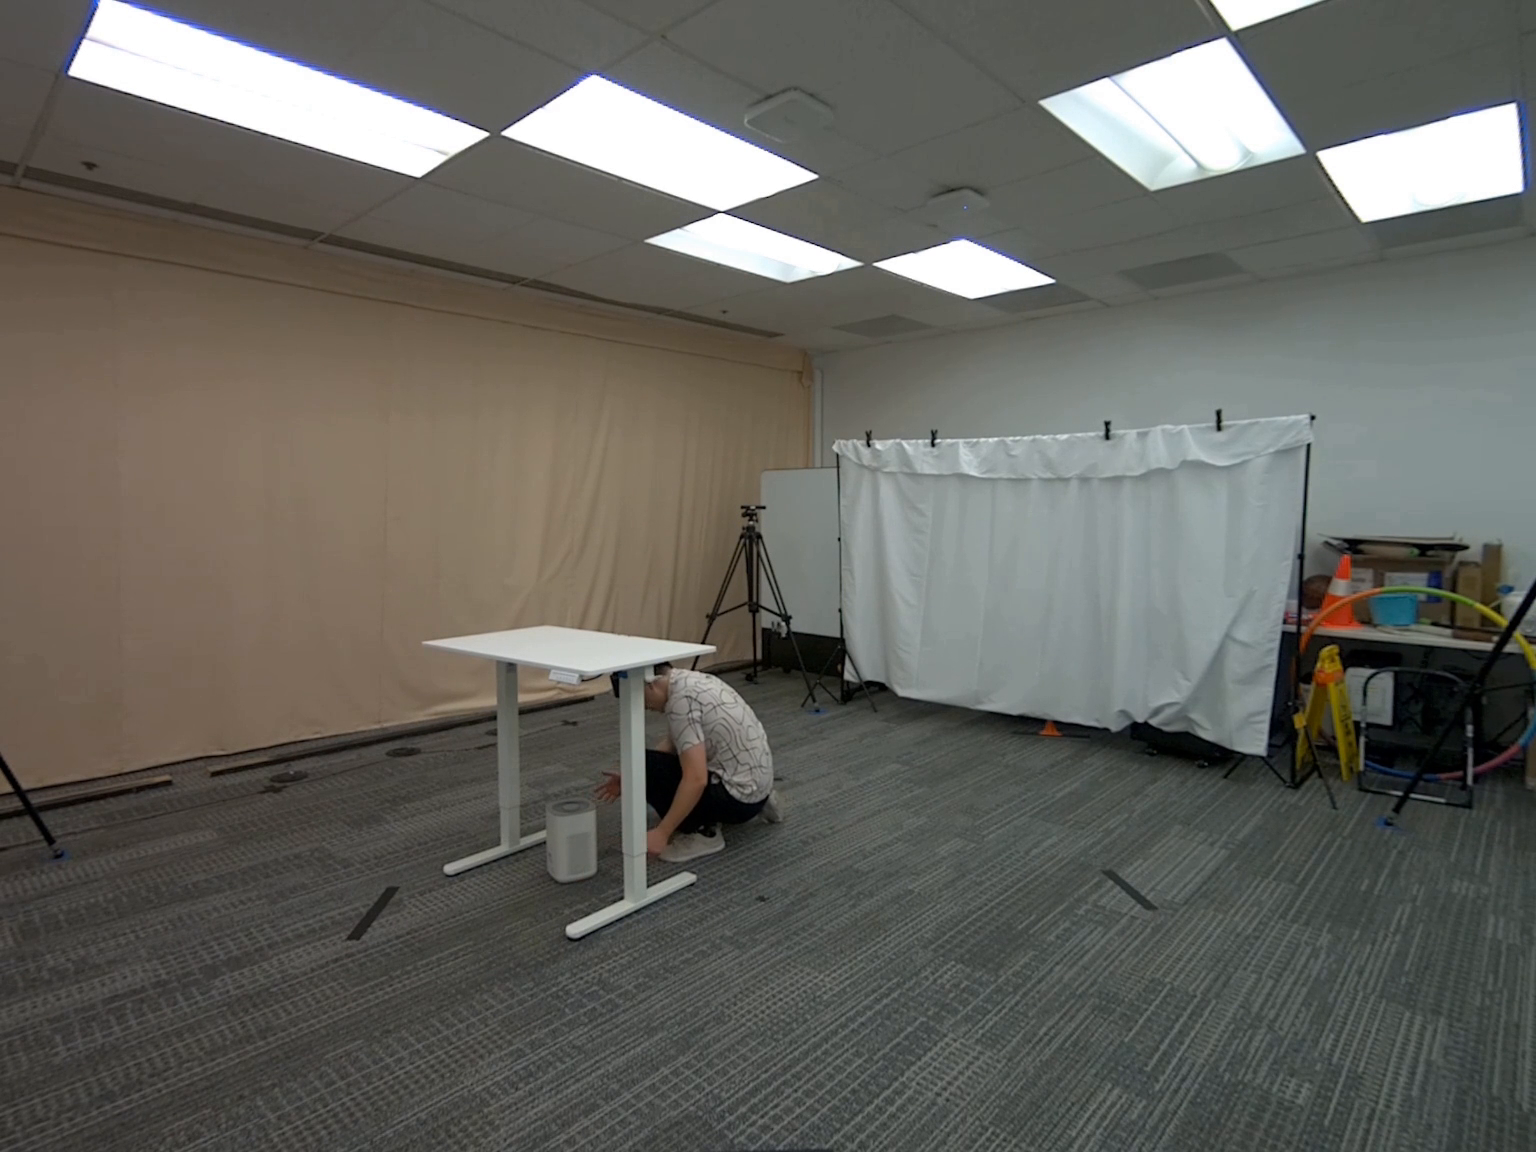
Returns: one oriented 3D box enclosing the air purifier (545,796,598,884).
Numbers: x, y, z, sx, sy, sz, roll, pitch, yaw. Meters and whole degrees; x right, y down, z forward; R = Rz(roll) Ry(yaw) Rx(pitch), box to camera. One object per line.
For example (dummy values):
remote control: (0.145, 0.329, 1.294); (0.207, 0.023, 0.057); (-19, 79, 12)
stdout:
air purifier: (-0.744, 1.001, 3.190); (0.167, 0.265, 0.176); (-3, 4, -34)
